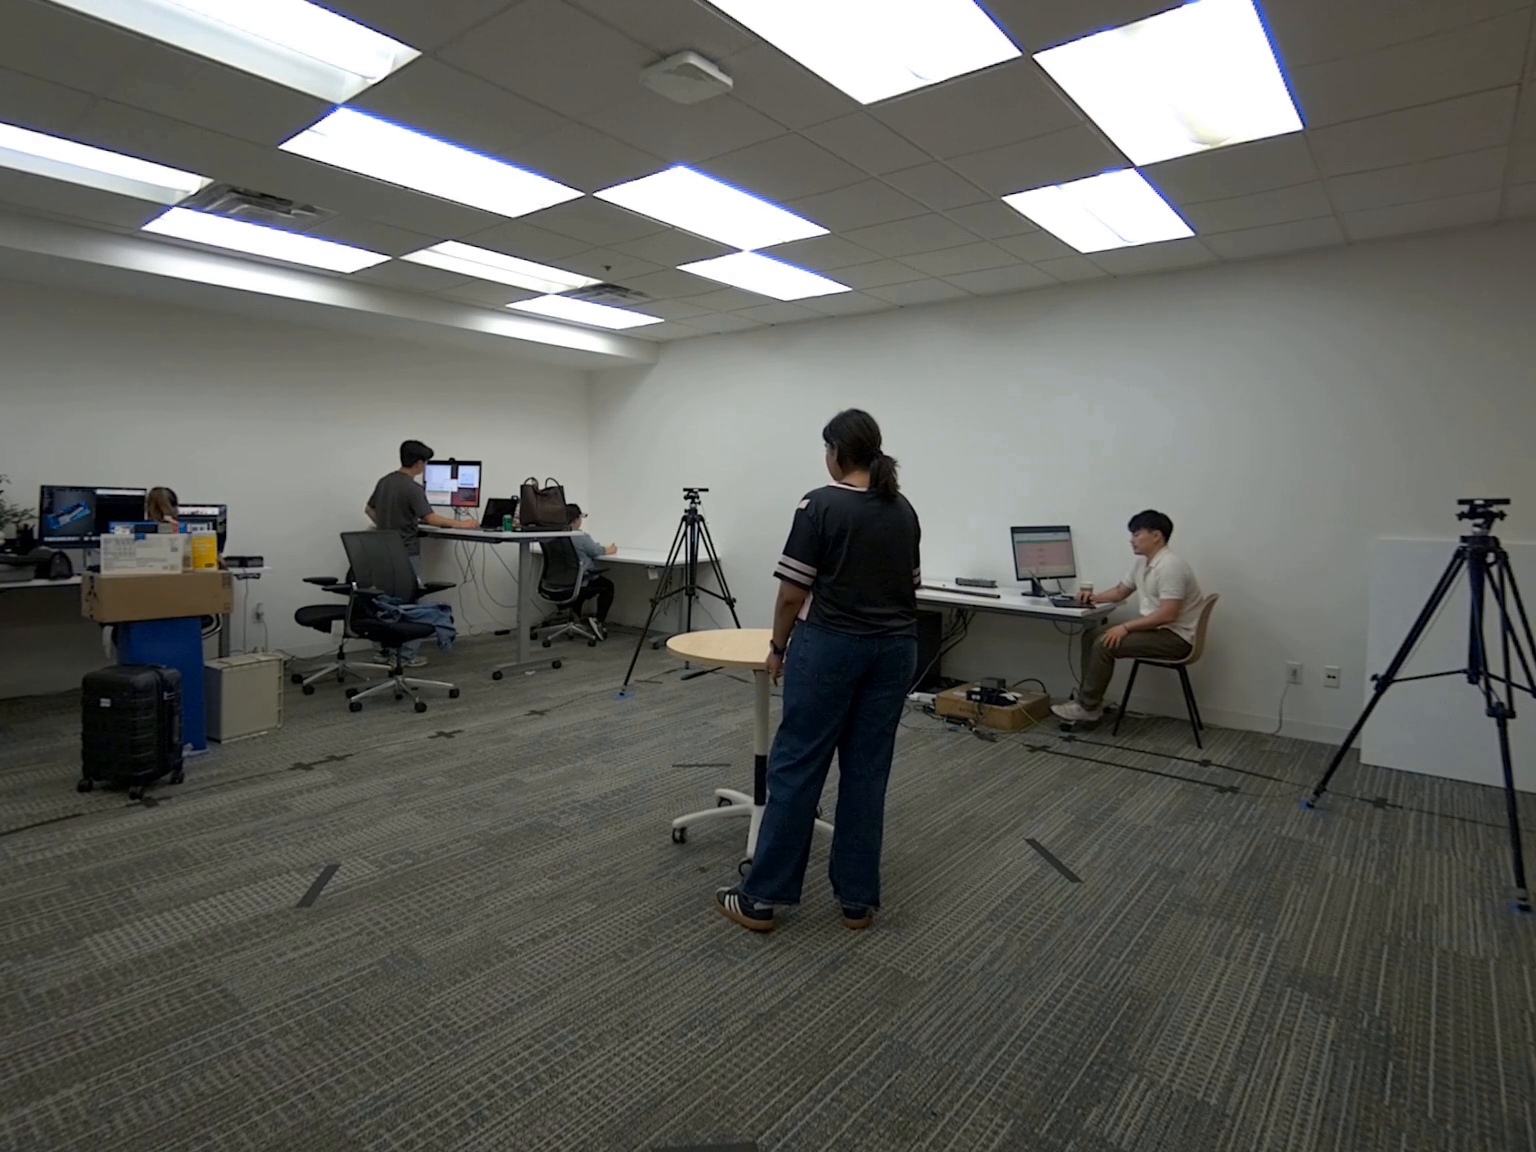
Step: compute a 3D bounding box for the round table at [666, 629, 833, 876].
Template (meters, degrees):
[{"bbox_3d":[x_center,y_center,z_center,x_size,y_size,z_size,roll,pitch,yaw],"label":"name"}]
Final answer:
[{"bbox_3d":[-0.038,0.658,3.380,0.763,0.792,0.767,1,4,-2],"label":"round table"}]
